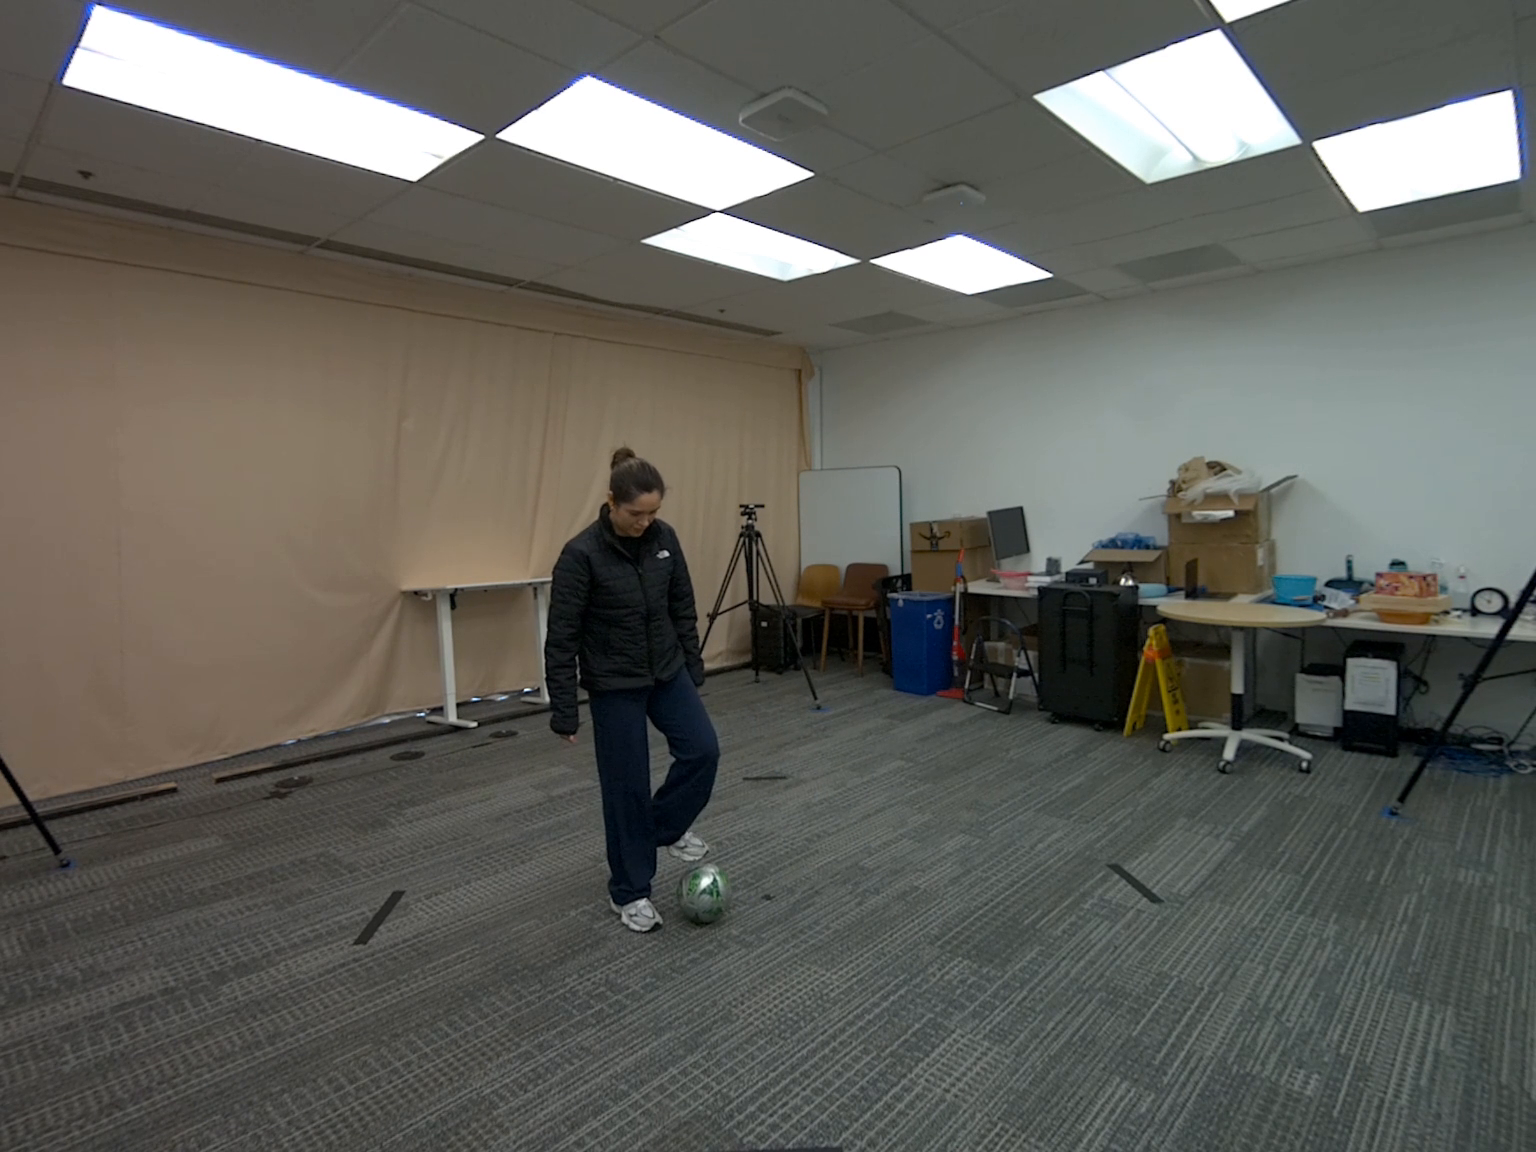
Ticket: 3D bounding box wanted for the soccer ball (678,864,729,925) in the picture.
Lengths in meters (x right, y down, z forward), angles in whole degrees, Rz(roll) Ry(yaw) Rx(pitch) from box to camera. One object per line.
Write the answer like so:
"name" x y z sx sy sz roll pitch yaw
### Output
"soccer ball" -0.208 1.060 2.818 0.187 0.187 0.188 -1 4 -2
